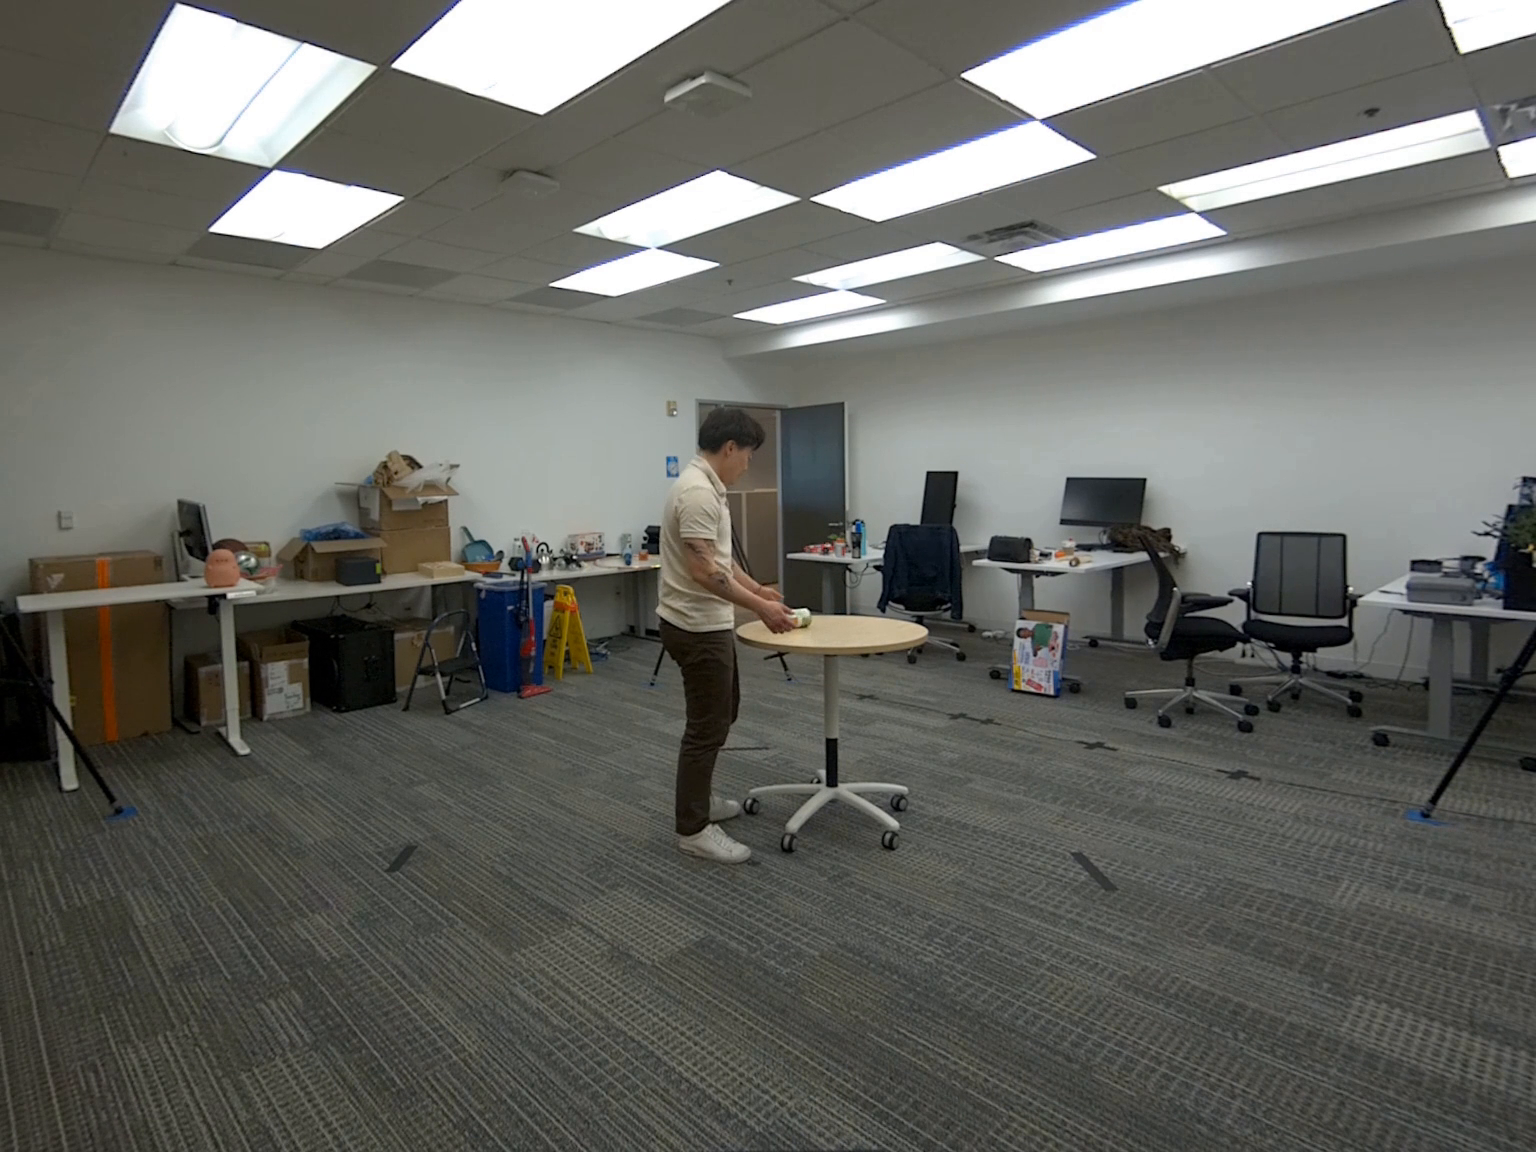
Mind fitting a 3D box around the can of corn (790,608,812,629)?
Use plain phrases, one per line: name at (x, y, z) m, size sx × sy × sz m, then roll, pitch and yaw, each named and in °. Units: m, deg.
can of corn at (0.111, 0.173, 3.494) m, size 0.109 × 0.074 × 0.075 m, roll -4°, pitch 5°, yaw -15°
